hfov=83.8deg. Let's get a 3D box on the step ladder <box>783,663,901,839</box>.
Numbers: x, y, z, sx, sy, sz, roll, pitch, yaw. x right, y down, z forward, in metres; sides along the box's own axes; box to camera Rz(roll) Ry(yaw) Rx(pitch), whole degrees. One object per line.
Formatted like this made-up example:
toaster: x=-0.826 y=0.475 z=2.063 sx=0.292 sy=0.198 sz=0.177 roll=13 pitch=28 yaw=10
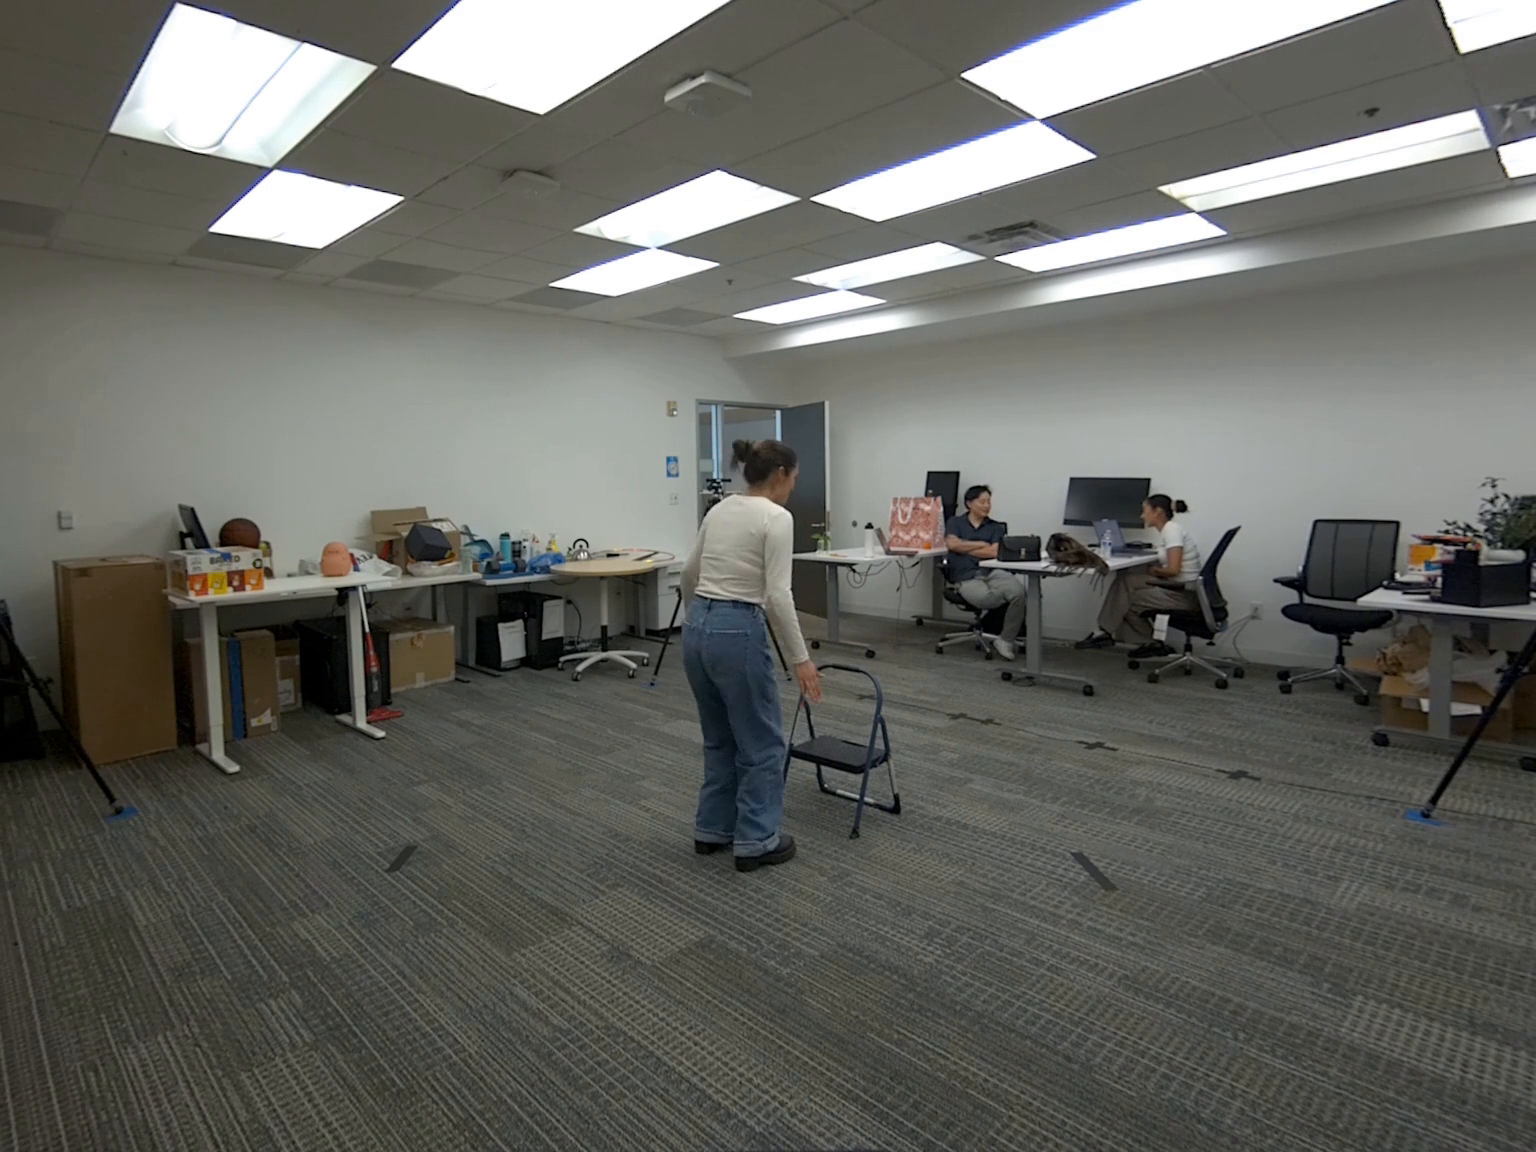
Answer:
step ladder: x=0.285 y=0.687 z=3.553 sx=0.444 sy=0.604 sz=0.340 roll=4 pitch=6 yaw=42
